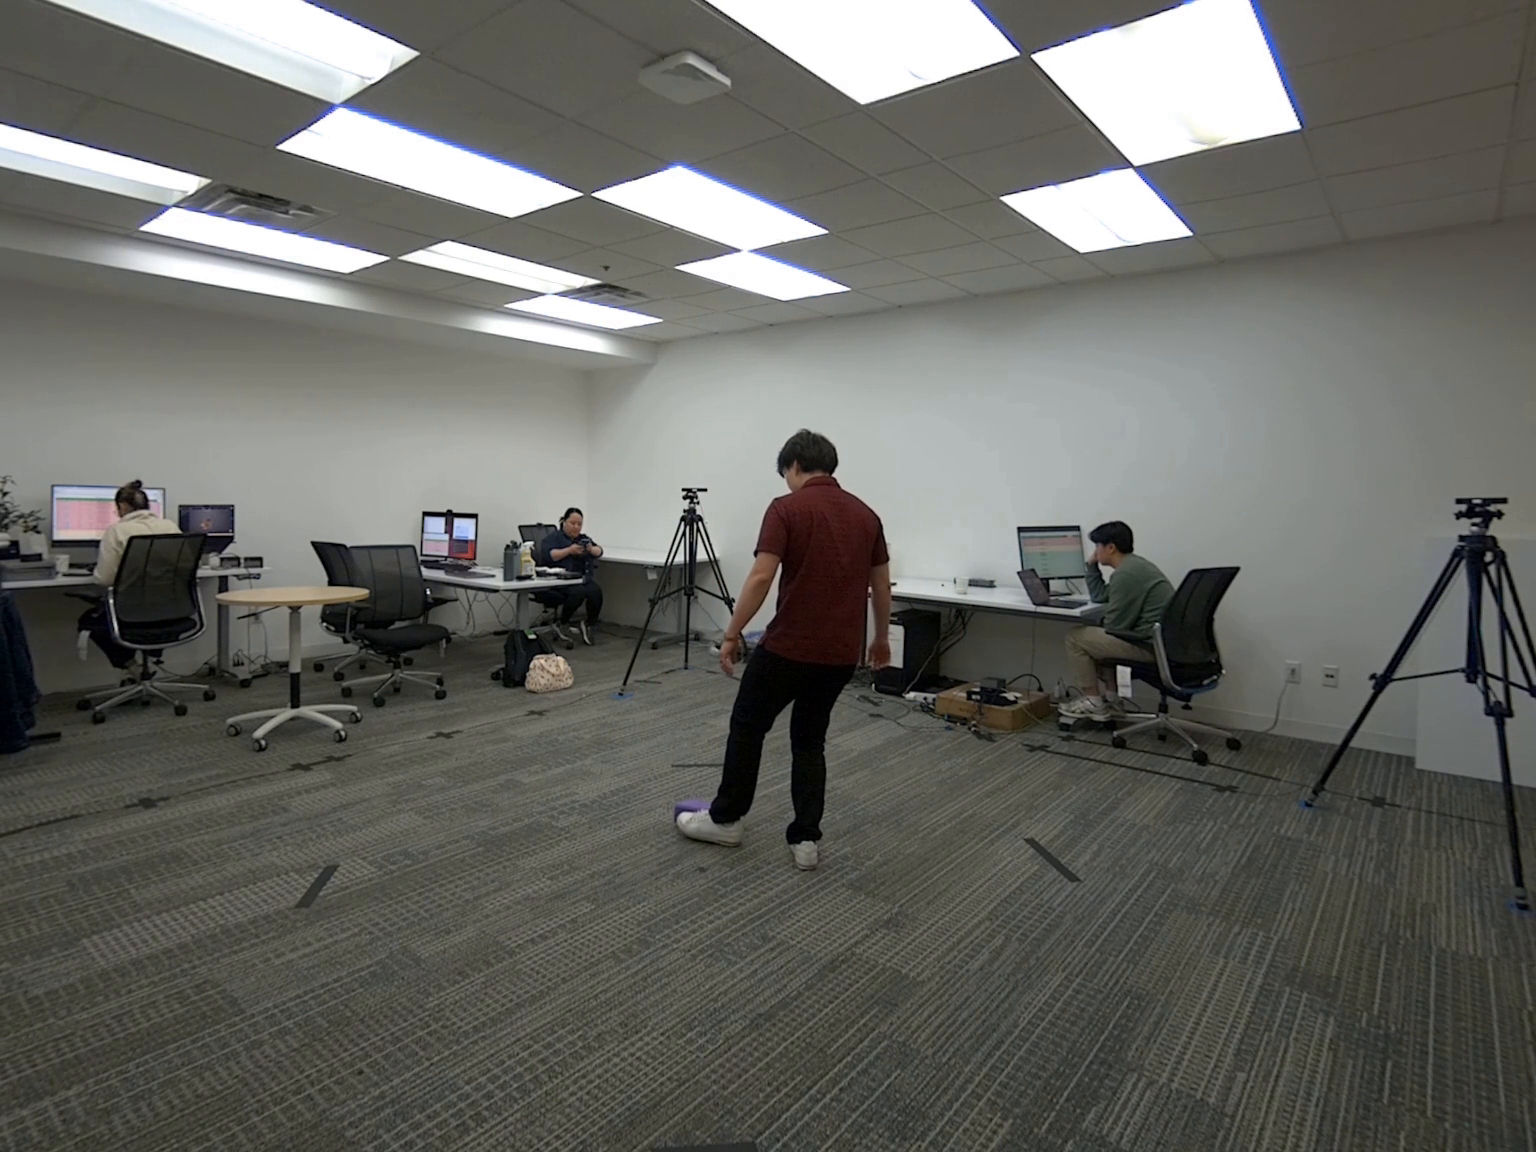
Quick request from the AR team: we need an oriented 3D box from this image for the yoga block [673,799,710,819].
[{"bbox_3d":[-0.263,0.976,3.507,0.235,0.077,0.145,3,-2,25],"label":"yoga block"}]
